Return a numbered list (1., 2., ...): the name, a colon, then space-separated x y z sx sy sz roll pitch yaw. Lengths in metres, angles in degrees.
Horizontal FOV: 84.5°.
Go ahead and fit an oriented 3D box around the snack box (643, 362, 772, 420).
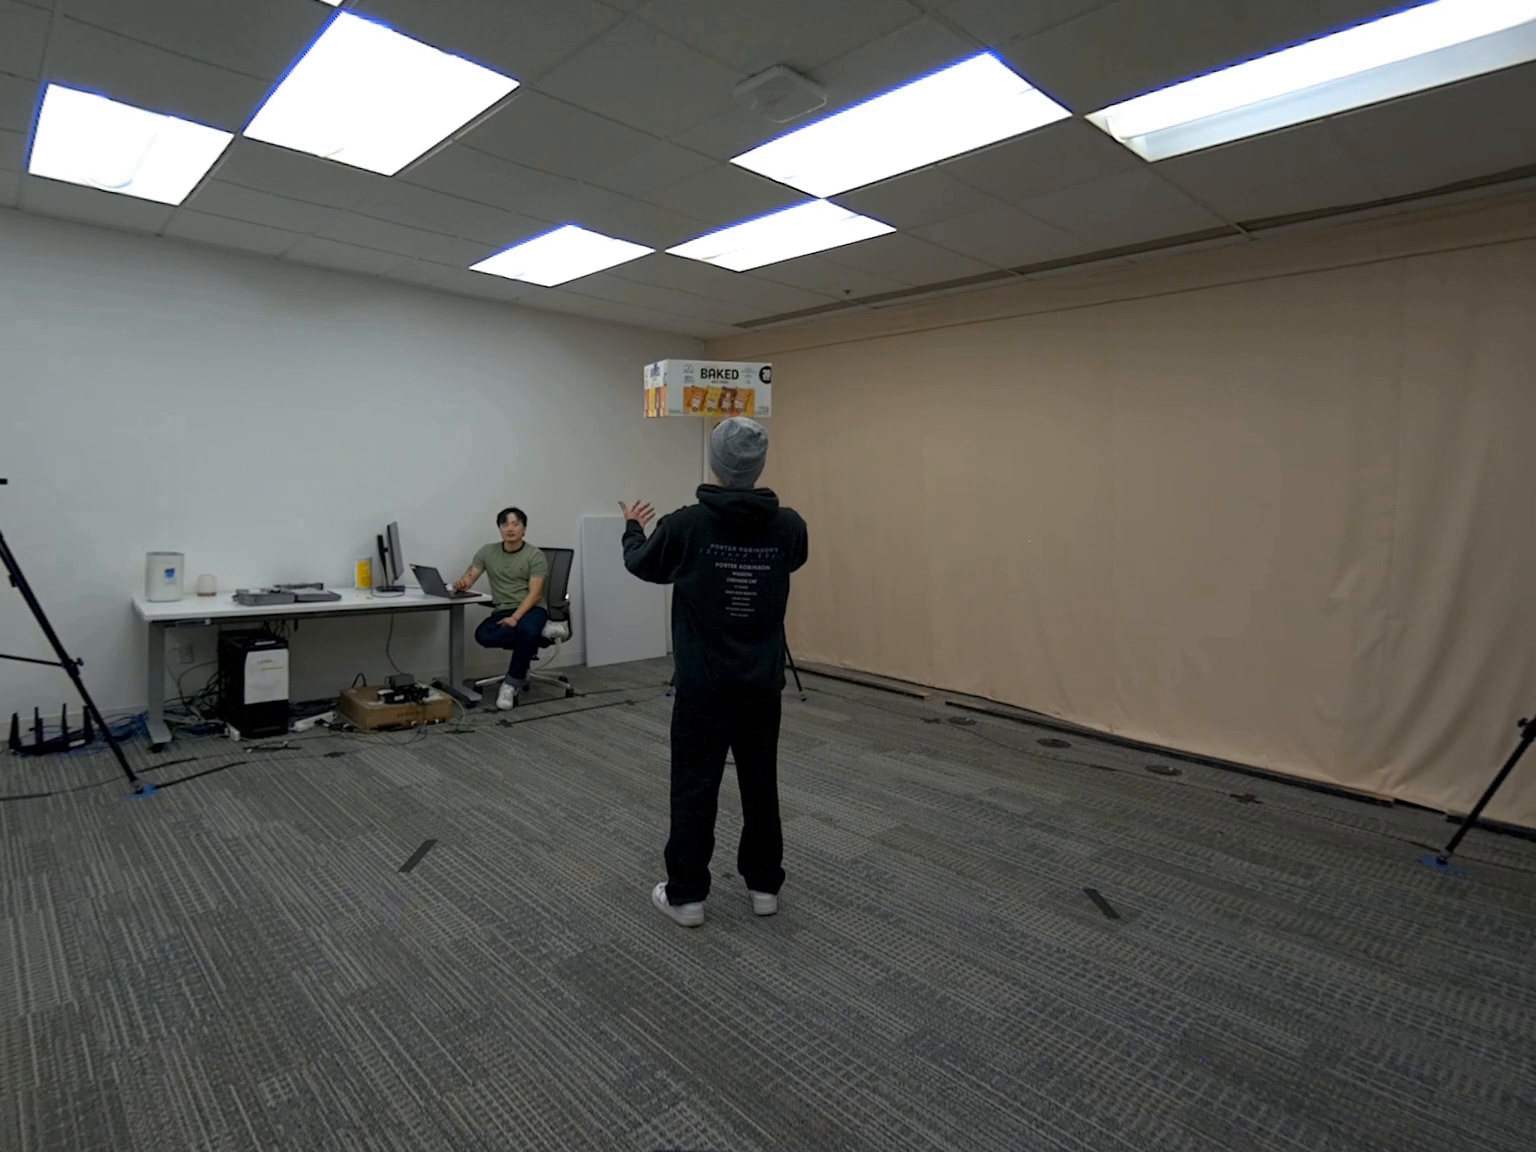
1. snack box: -0.245 -0.660 3.220 0.399 0.204 0.347 -3 10 -21
